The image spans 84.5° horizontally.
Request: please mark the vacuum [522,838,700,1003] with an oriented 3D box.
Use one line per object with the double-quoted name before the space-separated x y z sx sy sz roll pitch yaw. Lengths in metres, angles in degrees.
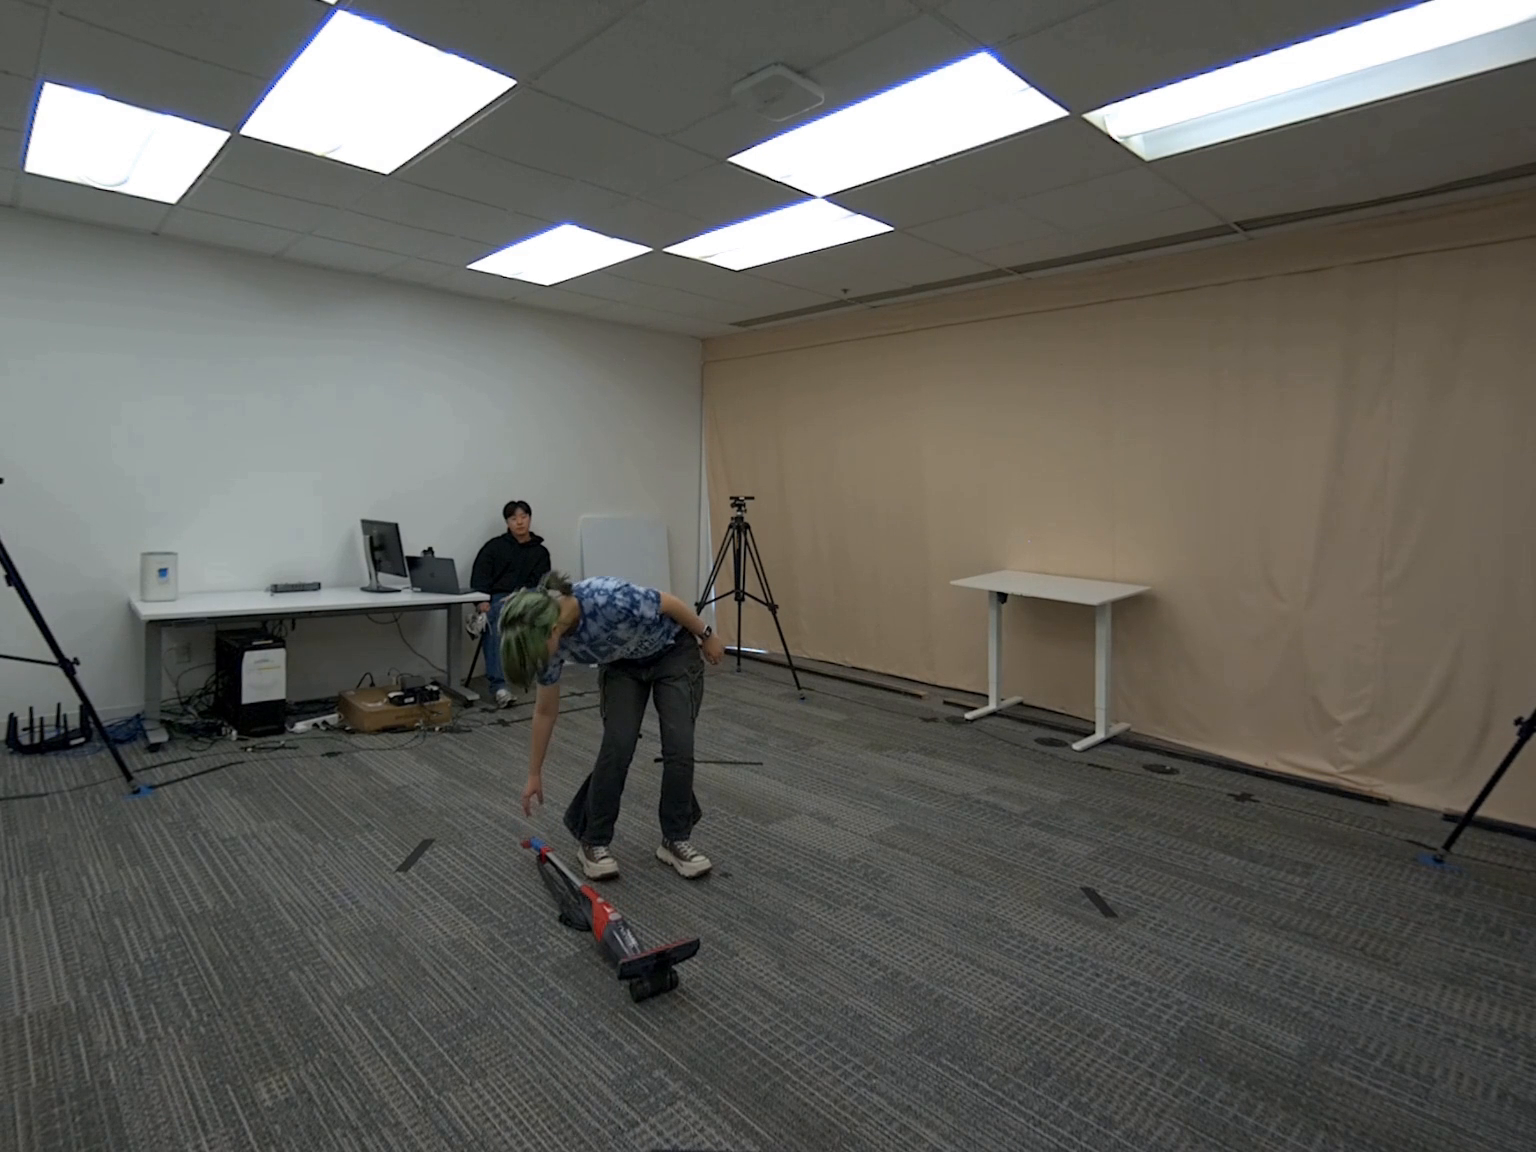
"vacuum" -0.615 1.068 2.747 0.247 0.144 1.075 1 3 -36
